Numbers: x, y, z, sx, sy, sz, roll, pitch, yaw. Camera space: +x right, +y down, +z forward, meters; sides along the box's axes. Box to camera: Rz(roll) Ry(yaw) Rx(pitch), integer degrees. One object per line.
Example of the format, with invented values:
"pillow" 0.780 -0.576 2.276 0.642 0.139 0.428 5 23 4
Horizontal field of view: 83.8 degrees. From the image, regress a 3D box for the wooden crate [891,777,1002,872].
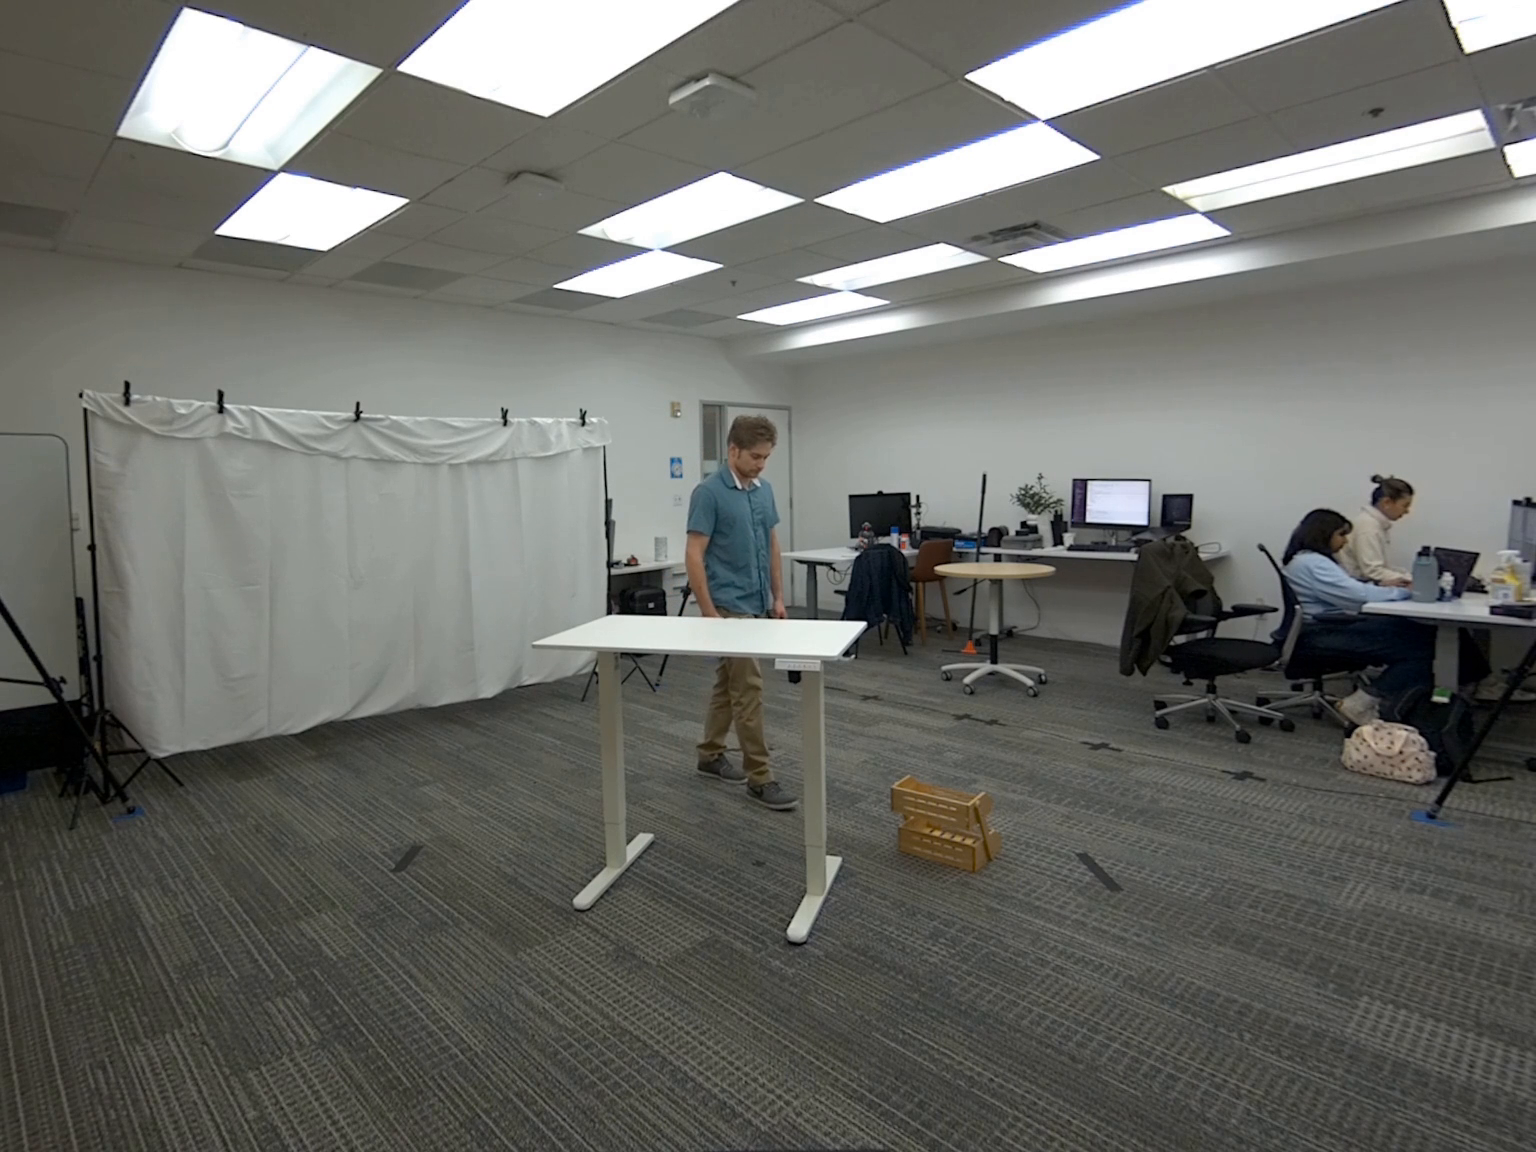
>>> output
"wooden crate" 0.669 0.896 3.171 0.334 0.272 0.294 3 7 37
